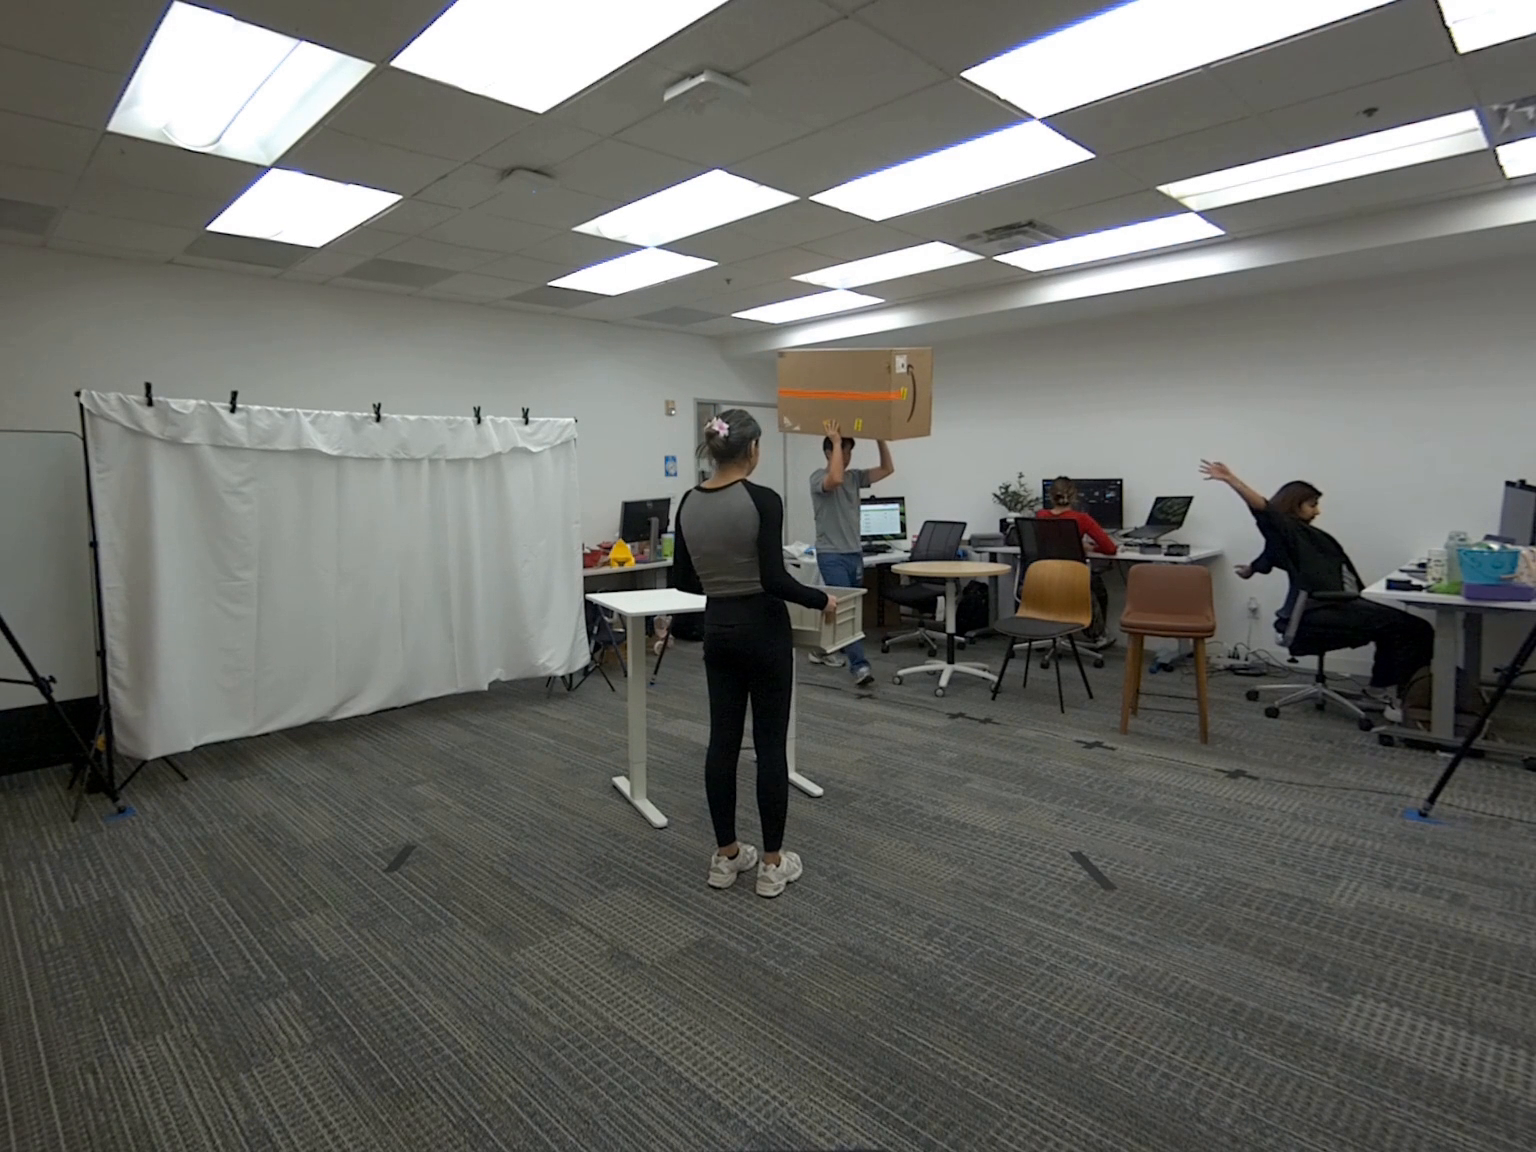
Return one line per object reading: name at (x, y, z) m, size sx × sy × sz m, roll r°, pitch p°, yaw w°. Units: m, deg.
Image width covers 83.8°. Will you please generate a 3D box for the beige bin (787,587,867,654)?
beige bin at (0.105, 0.148, 3.190) m, size 0.434 × 0.188 × 0.369 m, roll 2°, pitch 7°, yaw 33°
